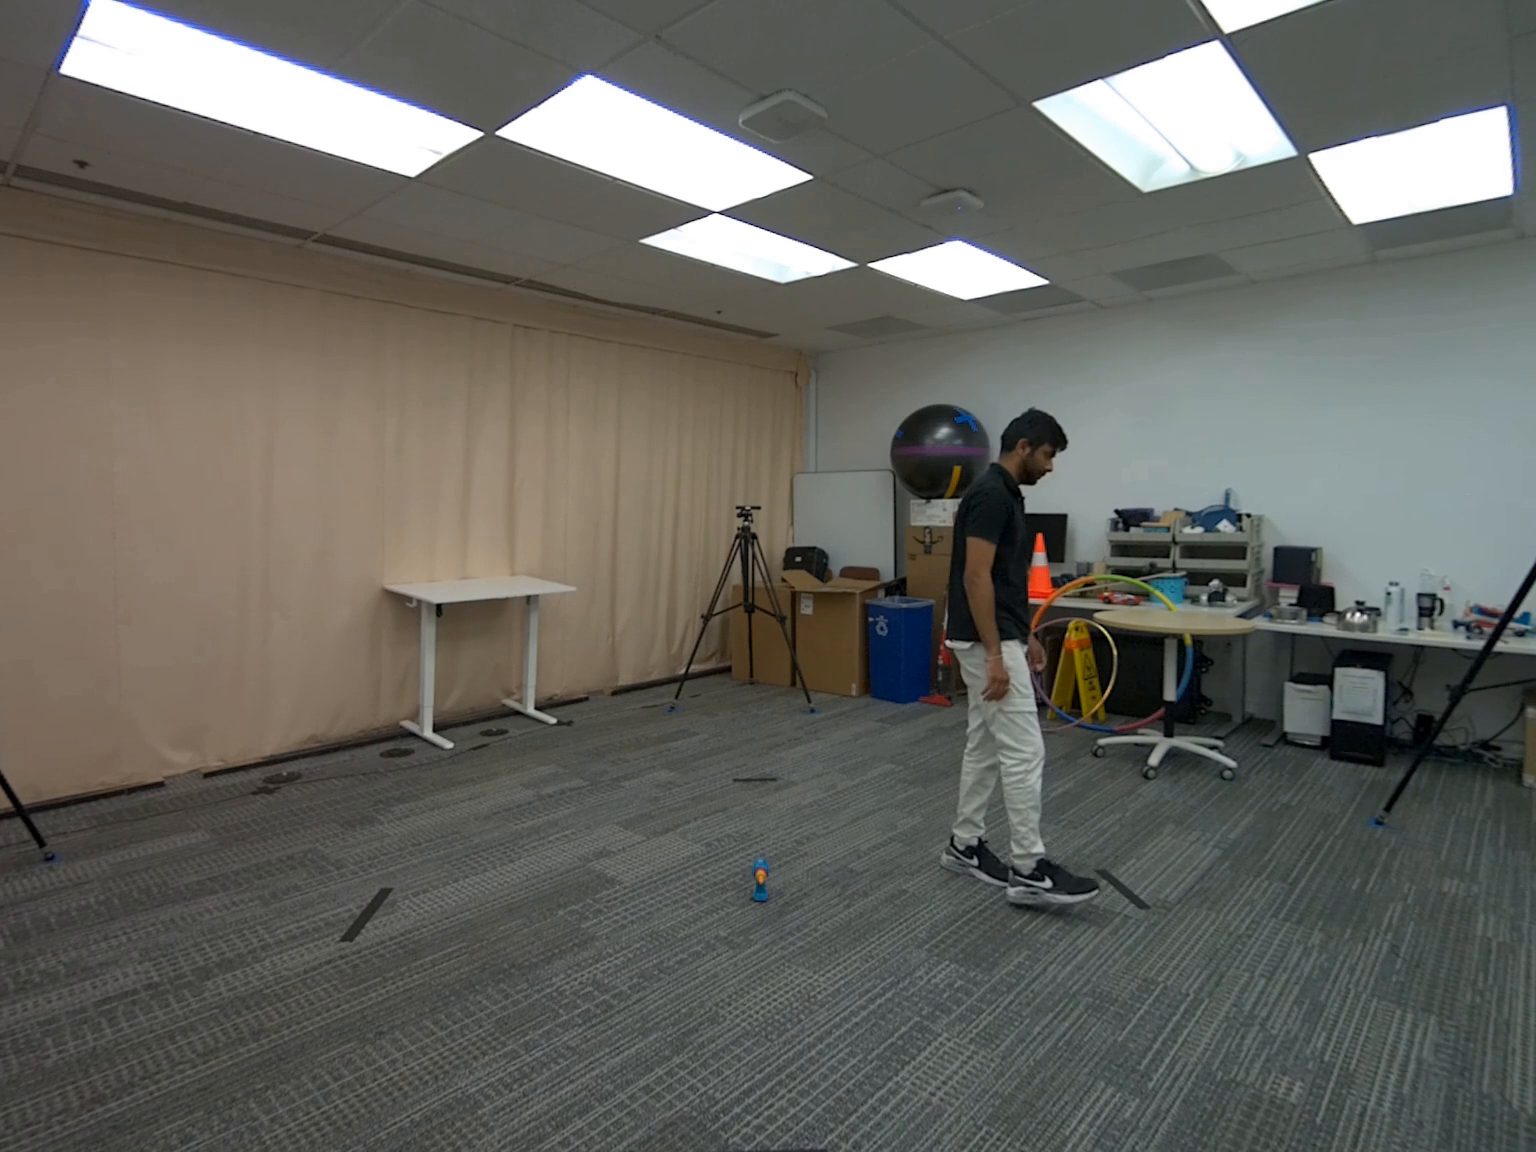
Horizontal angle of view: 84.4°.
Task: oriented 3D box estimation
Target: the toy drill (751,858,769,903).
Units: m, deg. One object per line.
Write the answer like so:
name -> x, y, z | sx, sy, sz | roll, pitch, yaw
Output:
toy drill -> -0.021, 1.067, 2.950 | 0.061, 0.146, 0.171 | 2, 4, -5
